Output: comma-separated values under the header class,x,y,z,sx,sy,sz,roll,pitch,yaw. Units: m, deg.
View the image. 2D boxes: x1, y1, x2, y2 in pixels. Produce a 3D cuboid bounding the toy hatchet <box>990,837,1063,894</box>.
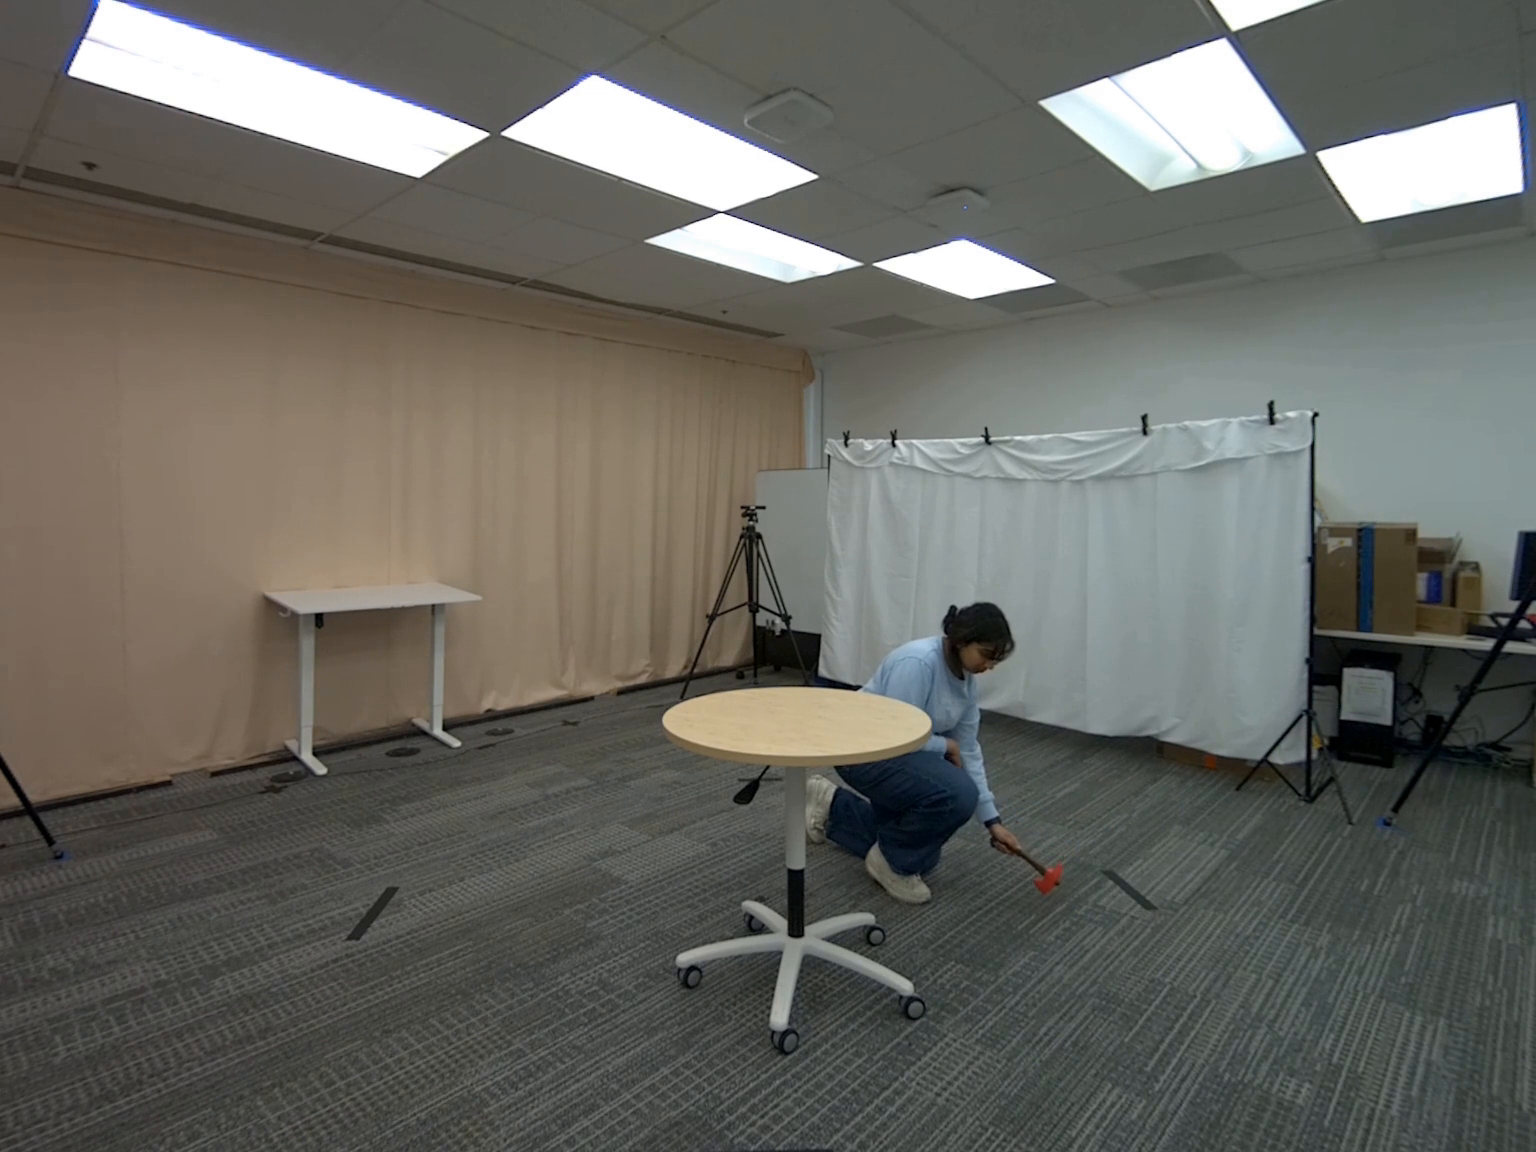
class,x,y,z,sx,sy,sz,roll,pitch,yaw
toy hatchet,0.925,1.036,2.980,0.029,0.131,0.279,-1,7,-44
